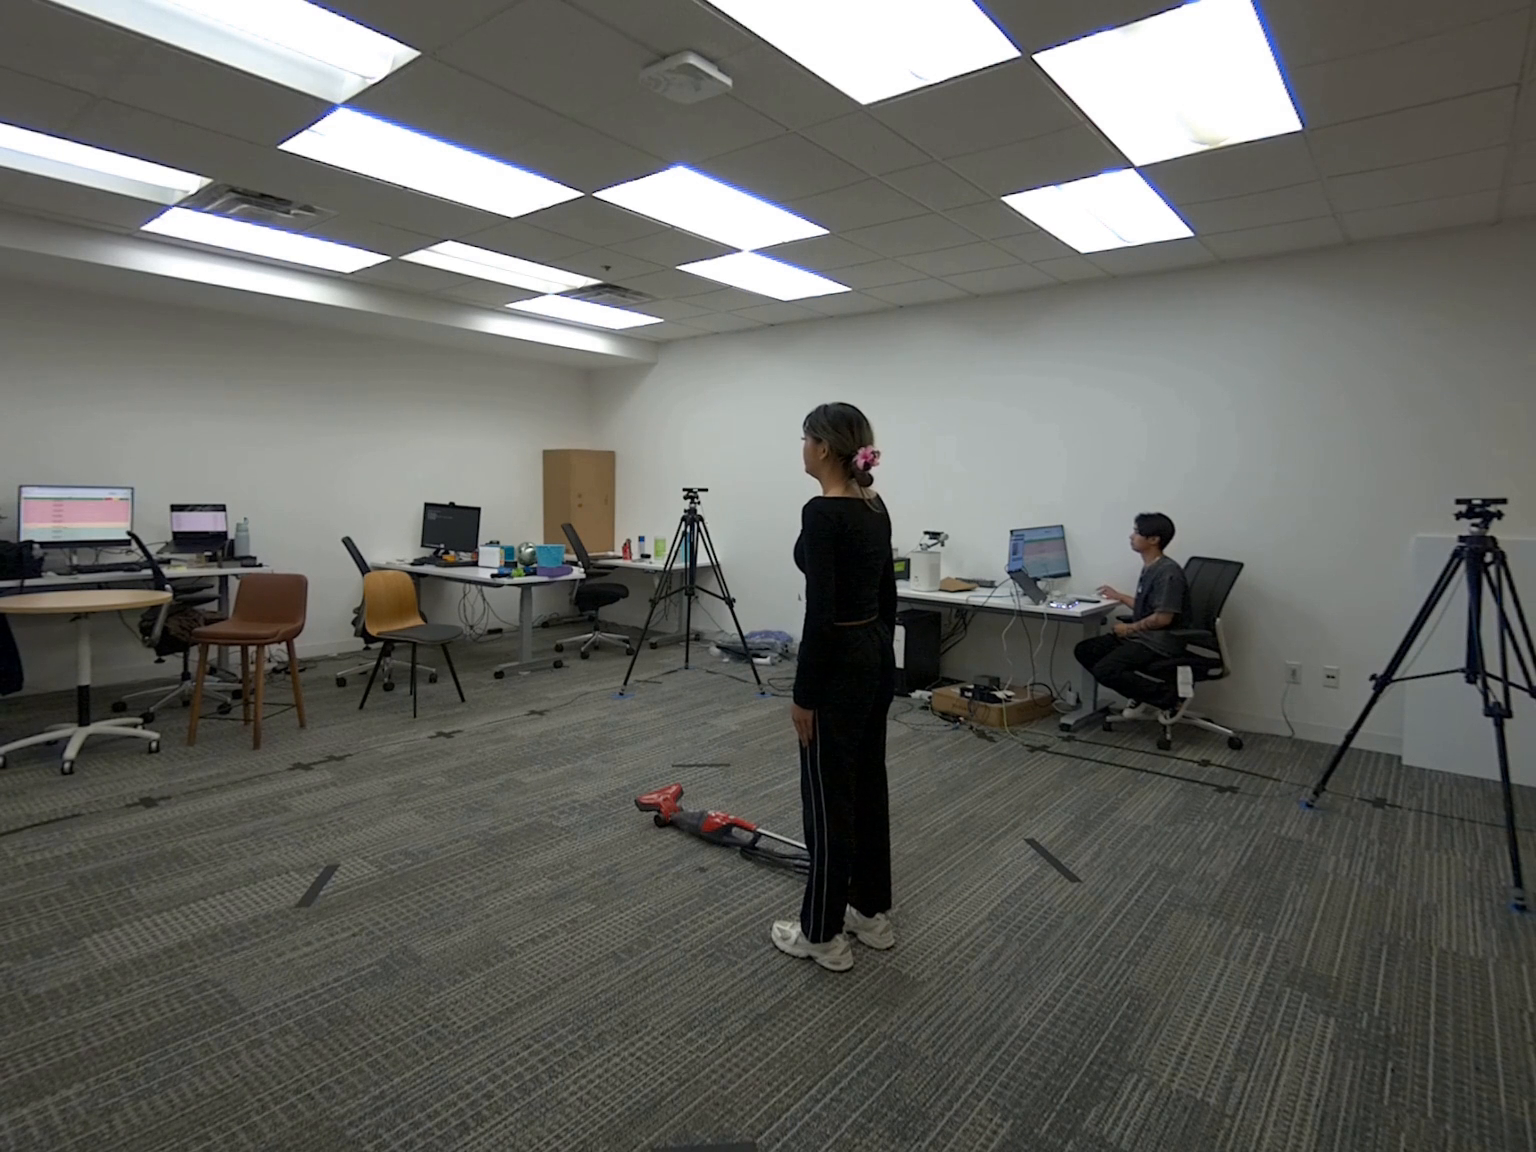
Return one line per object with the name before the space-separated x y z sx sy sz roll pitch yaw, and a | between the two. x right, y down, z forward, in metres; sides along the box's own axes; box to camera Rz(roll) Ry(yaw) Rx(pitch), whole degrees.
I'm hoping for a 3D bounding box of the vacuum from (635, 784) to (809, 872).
vacuum | -0.057 1.009 3.211 1.086 0.143 0.245 7 8 42
